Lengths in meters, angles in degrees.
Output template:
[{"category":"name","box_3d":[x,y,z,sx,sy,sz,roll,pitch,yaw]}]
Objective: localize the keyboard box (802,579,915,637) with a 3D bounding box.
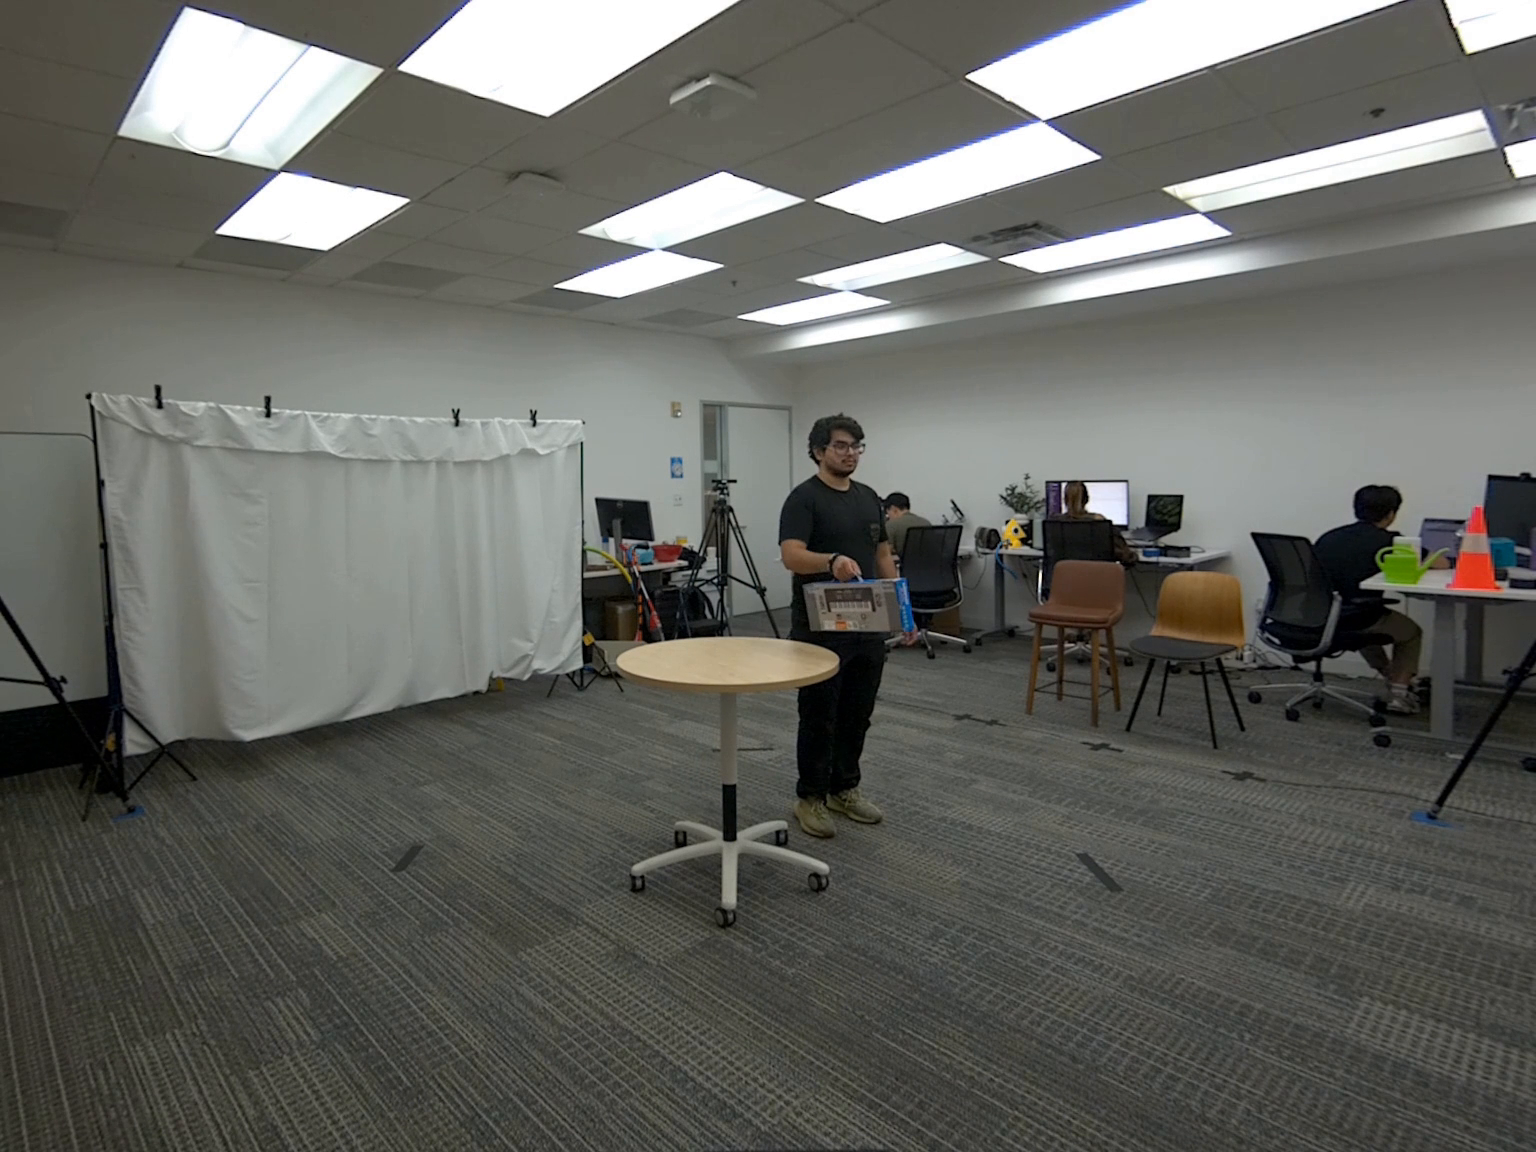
[{"category":"keyboard box","box_3d":[0.302,0.108,2.980,0.058,0.175,0.448,-12,5,-39]}]
